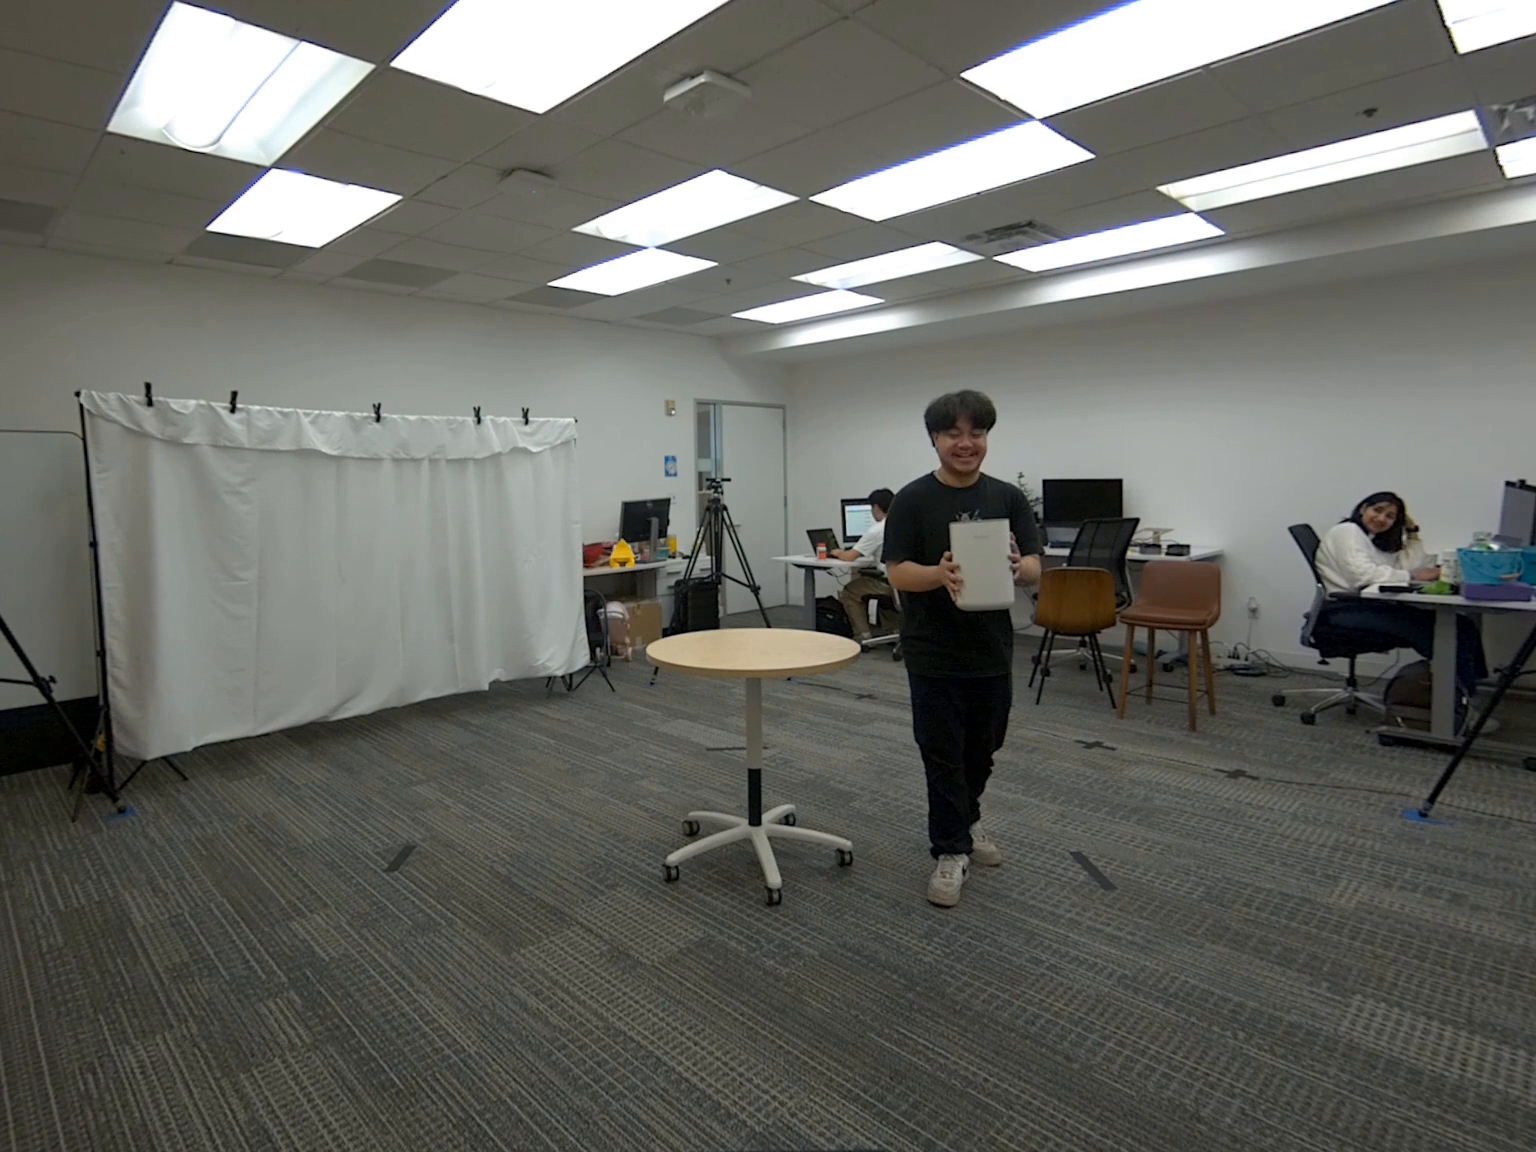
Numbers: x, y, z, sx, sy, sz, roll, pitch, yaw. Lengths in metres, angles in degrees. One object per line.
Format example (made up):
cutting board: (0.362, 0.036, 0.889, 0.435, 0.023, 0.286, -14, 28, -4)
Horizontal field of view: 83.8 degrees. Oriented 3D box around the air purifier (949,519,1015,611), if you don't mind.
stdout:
air purifier: (0.634, -0.032, 2.575, 0.173, 0.266, 0.170, -5, -1, 10)
